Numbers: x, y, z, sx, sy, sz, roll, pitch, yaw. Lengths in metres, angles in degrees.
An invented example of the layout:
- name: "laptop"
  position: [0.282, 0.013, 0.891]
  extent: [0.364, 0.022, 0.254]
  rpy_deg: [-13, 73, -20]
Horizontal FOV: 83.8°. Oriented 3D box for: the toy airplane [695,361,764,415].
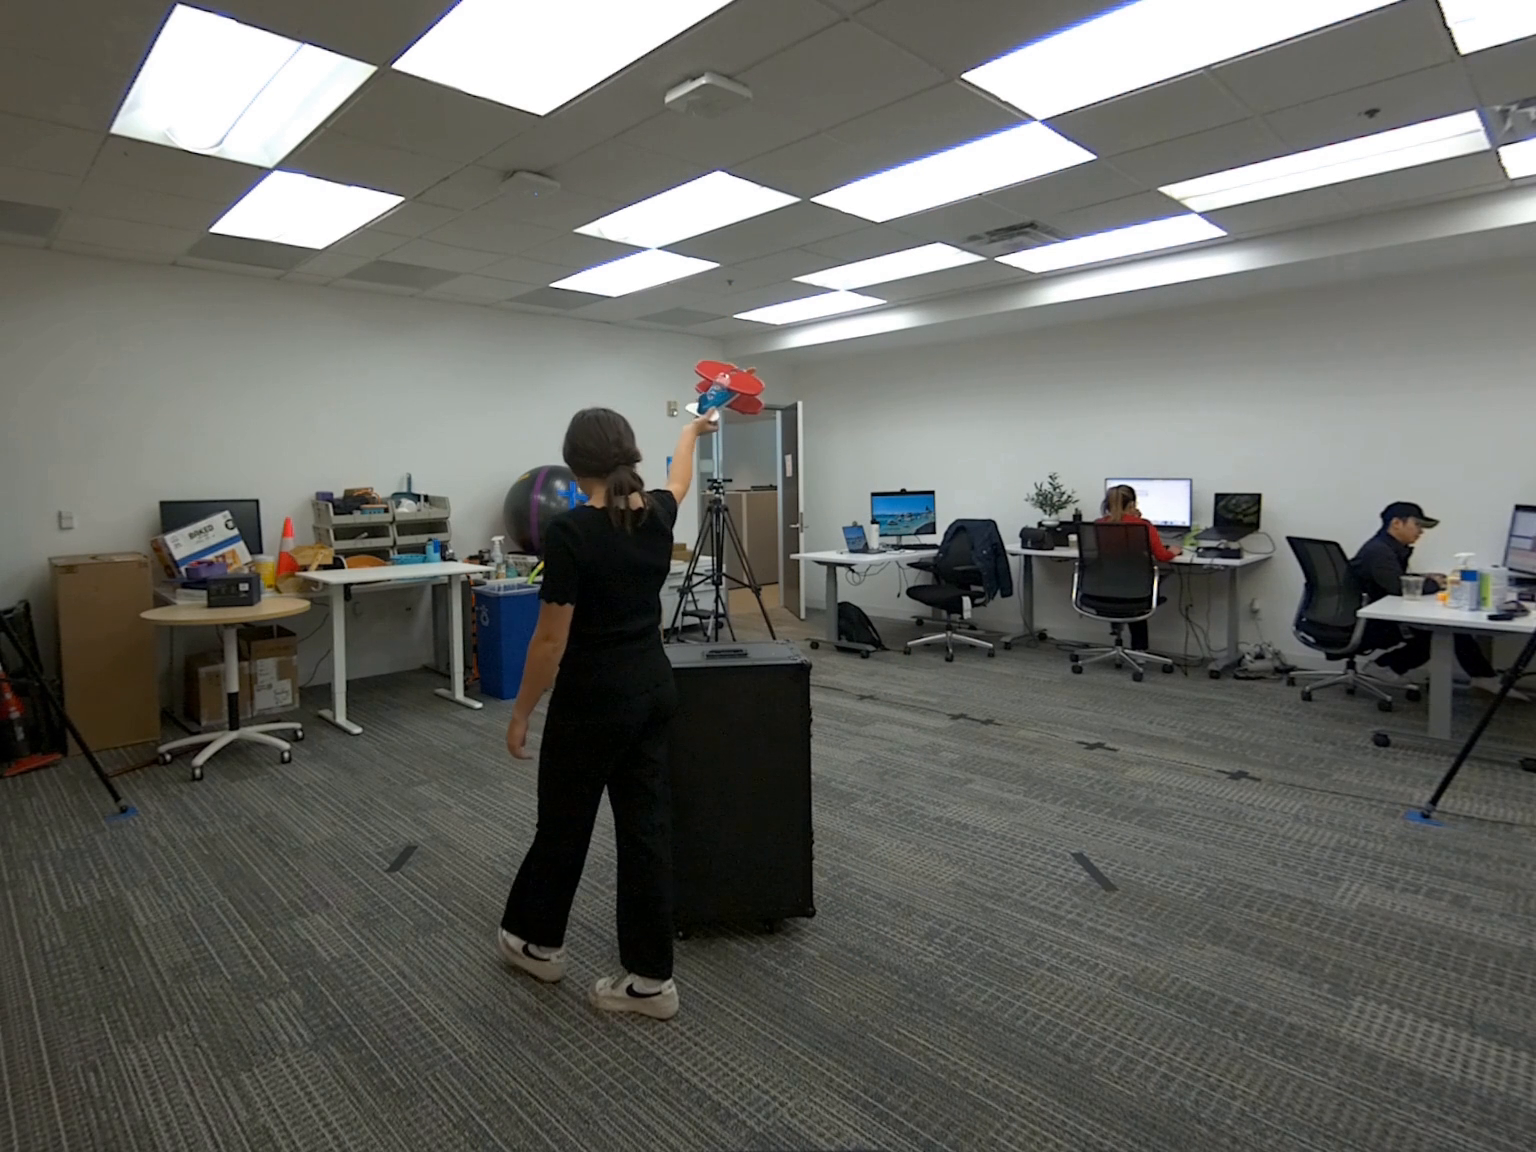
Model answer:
- name: "toy airplane"
  position: [-0.140, -0.589, 2.805]
  extent: [0.251, 0.153, 0.264]
  rpy_deg: [8, 36, 0]
